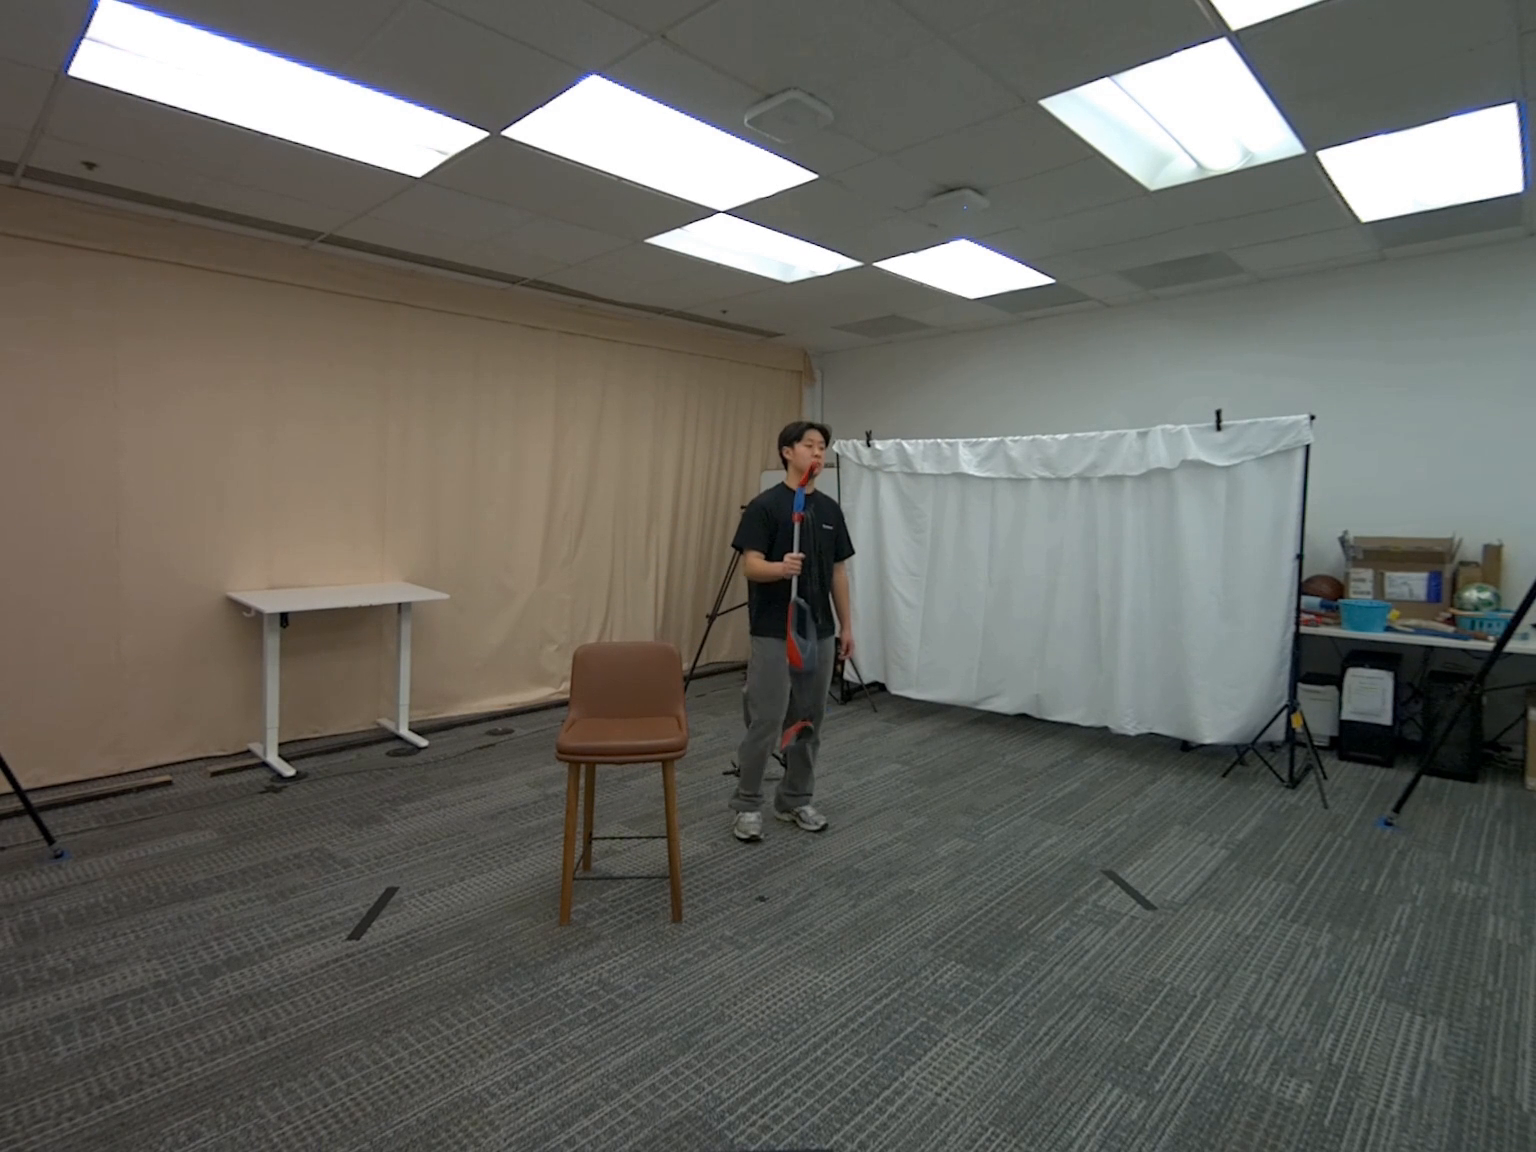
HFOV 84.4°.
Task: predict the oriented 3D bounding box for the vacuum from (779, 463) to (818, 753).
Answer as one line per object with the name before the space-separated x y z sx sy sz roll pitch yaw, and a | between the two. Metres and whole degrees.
vacuum | 0.140 0.101 3.220 0.146 1.047 0.250 4 3 9
